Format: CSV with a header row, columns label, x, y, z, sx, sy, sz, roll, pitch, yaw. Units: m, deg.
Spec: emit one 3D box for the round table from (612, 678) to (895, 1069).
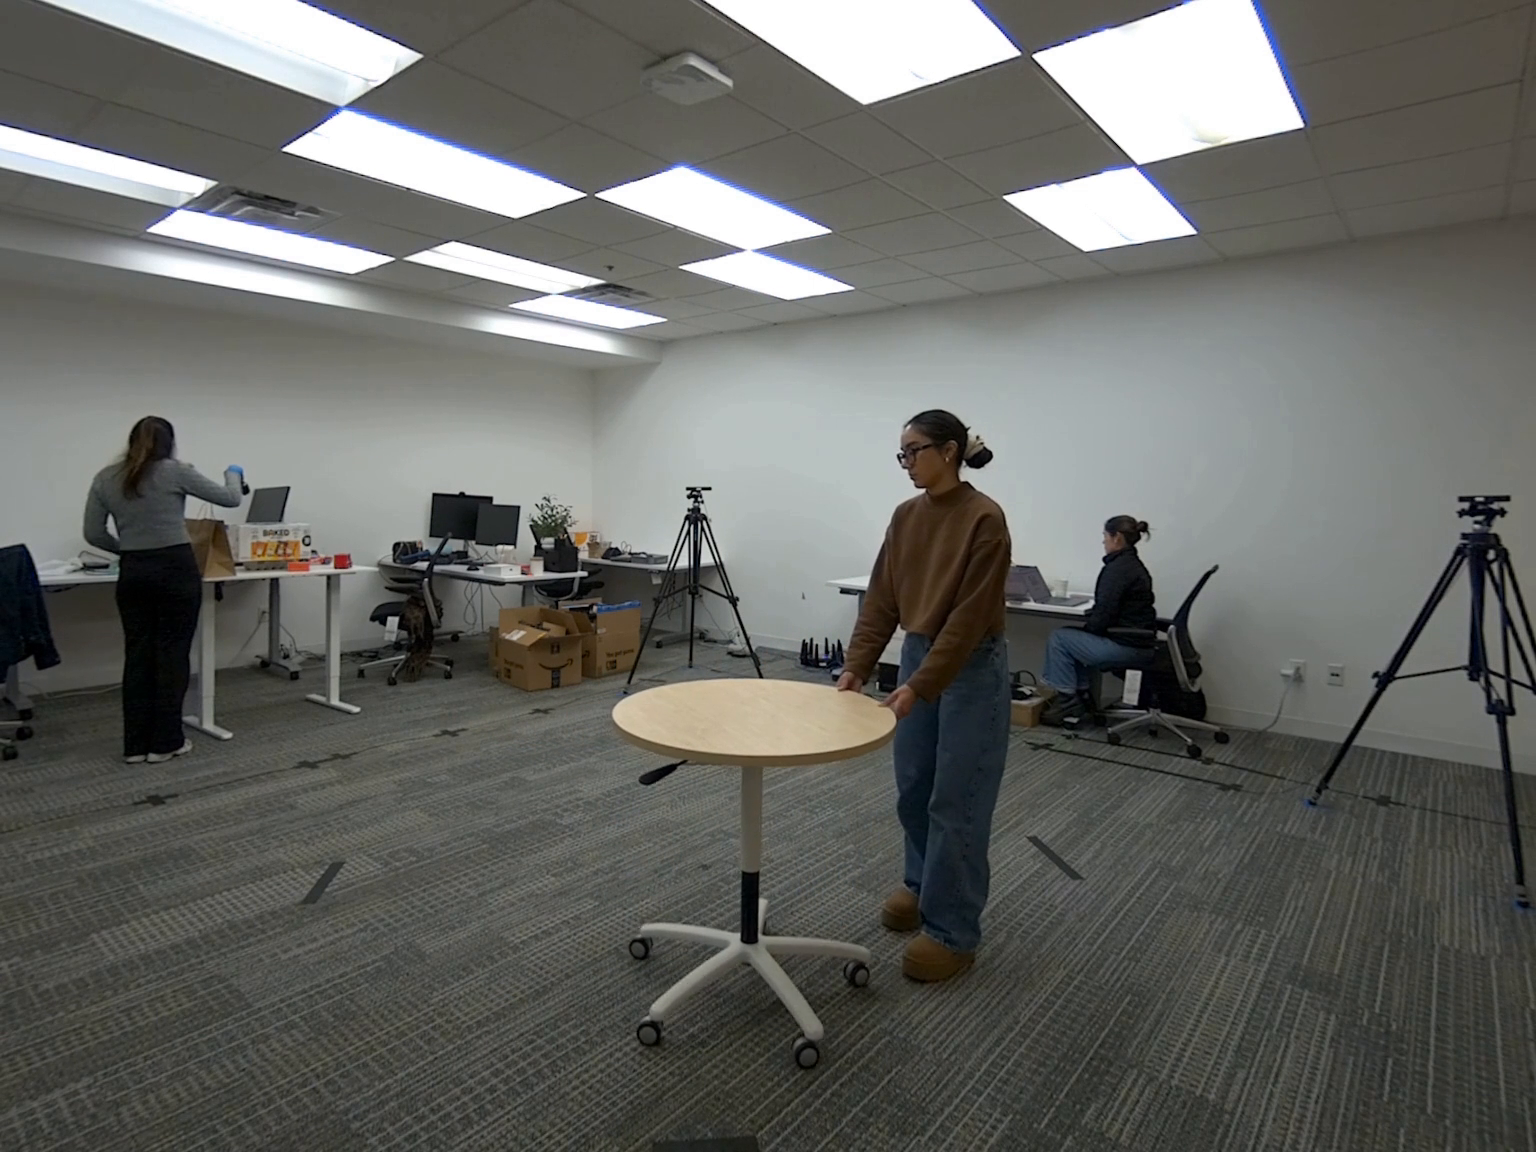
label,x,y,z,sx,sy,sz,roll,pitch,yaw
round table,-0.057,0.757,2.347,0.763,0.791,0.768,1,5,-2
